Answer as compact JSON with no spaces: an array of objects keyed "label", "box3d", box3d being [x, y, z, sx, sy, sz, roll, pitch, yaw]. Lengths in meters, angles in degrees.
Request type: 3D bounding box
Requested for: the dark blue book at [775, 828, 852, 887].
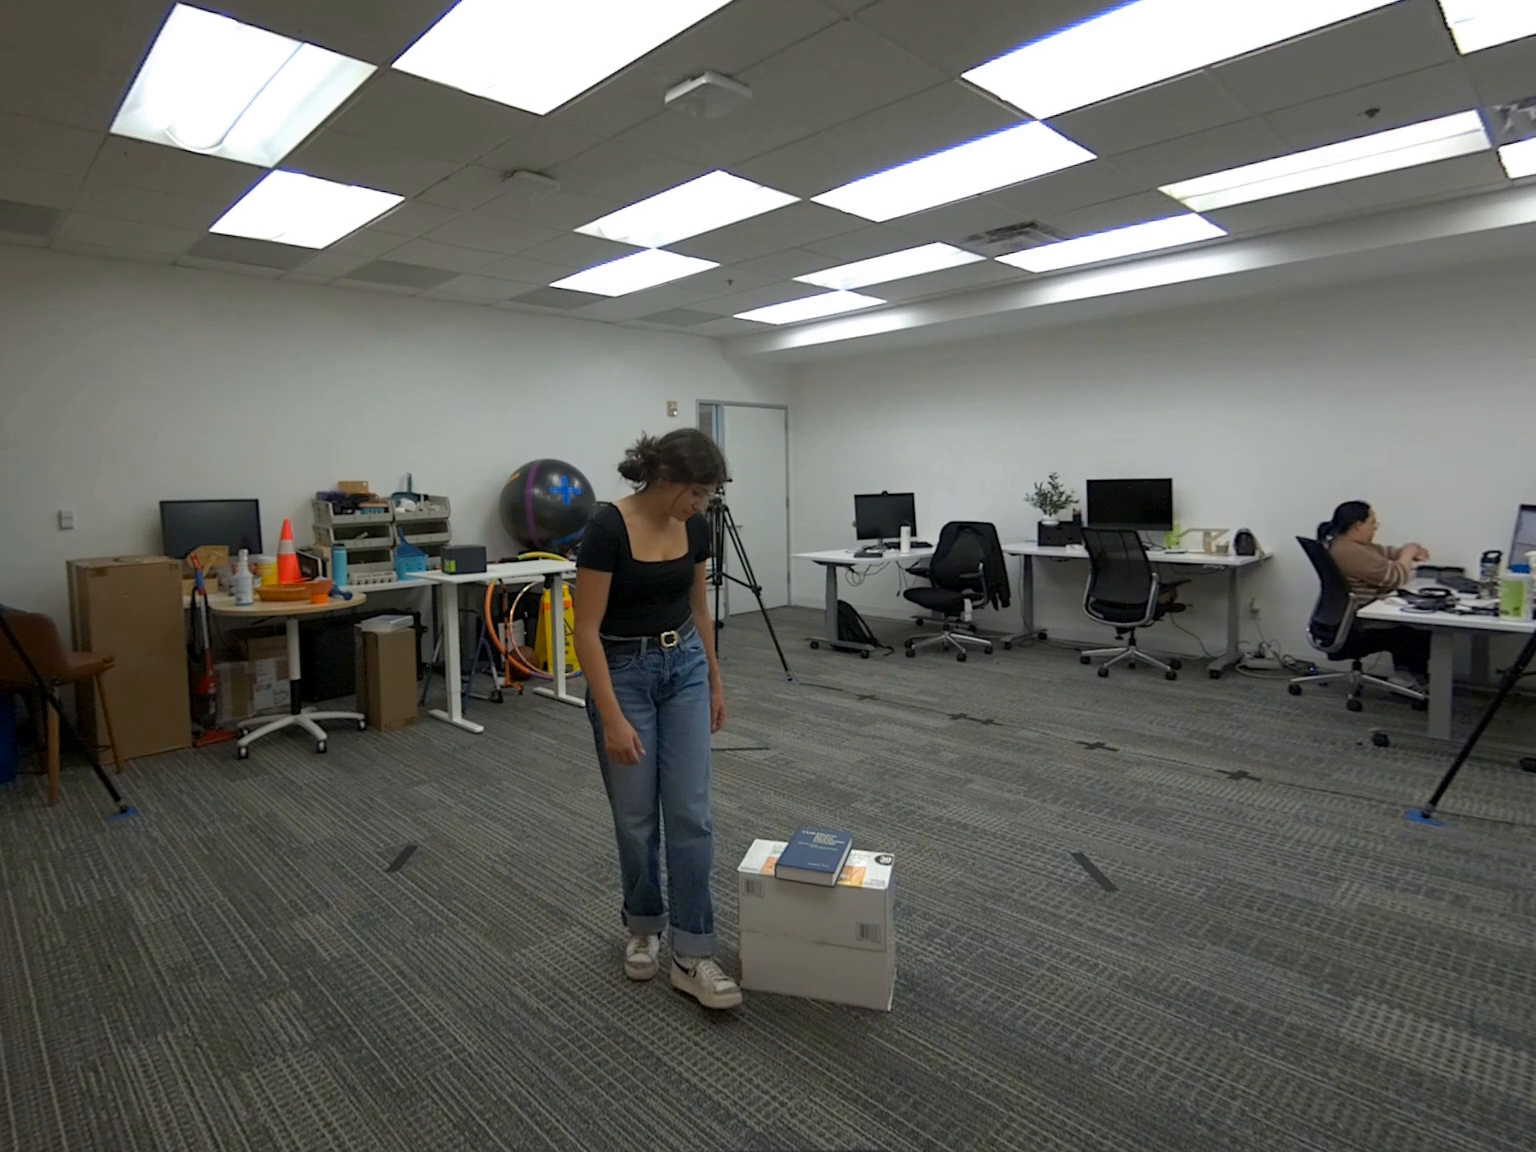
[{"label":"dark blue book","box3d":[0.133,0.767,2.358,0.166,0.045,0.242,1,8,18]}]
